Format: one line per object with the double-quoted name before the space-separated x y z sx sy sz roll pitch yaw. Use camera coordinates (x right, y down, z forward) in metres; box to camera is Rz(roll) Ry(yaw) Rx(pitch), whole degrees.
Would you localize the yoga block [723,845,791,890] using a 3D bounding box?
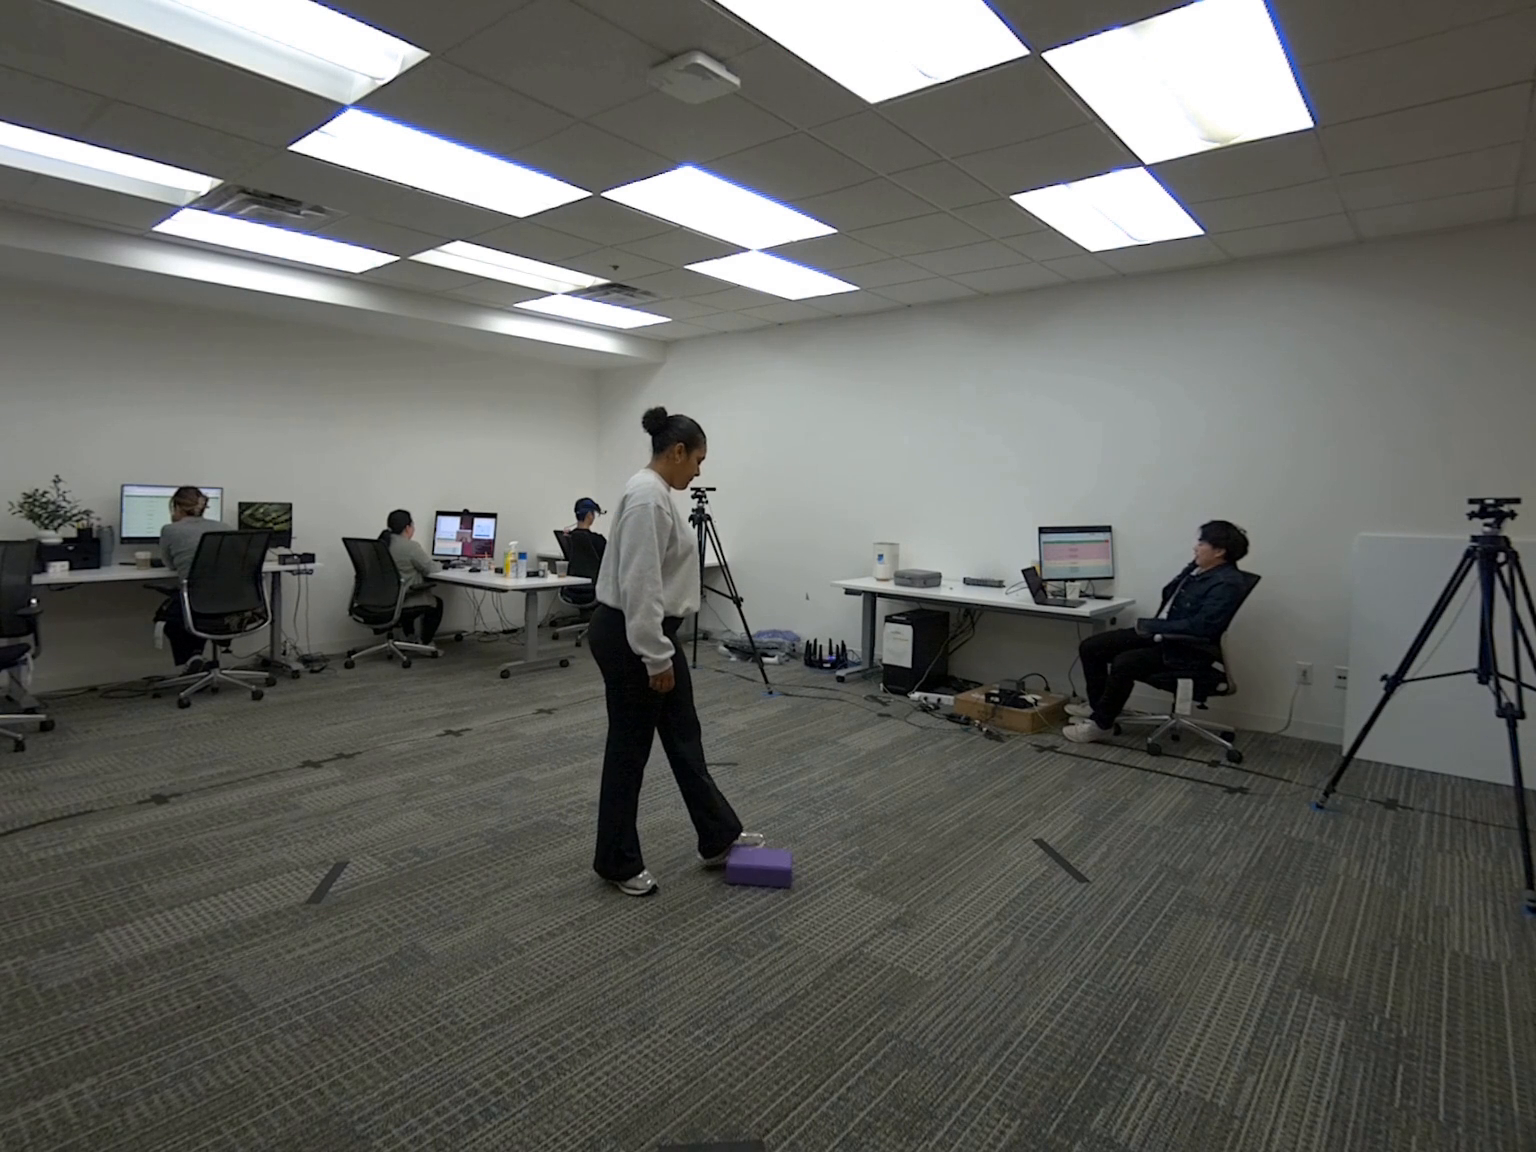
"yoga block" -0.064 1.036 3.047 0.231 0.076 0.149 2 6 5
